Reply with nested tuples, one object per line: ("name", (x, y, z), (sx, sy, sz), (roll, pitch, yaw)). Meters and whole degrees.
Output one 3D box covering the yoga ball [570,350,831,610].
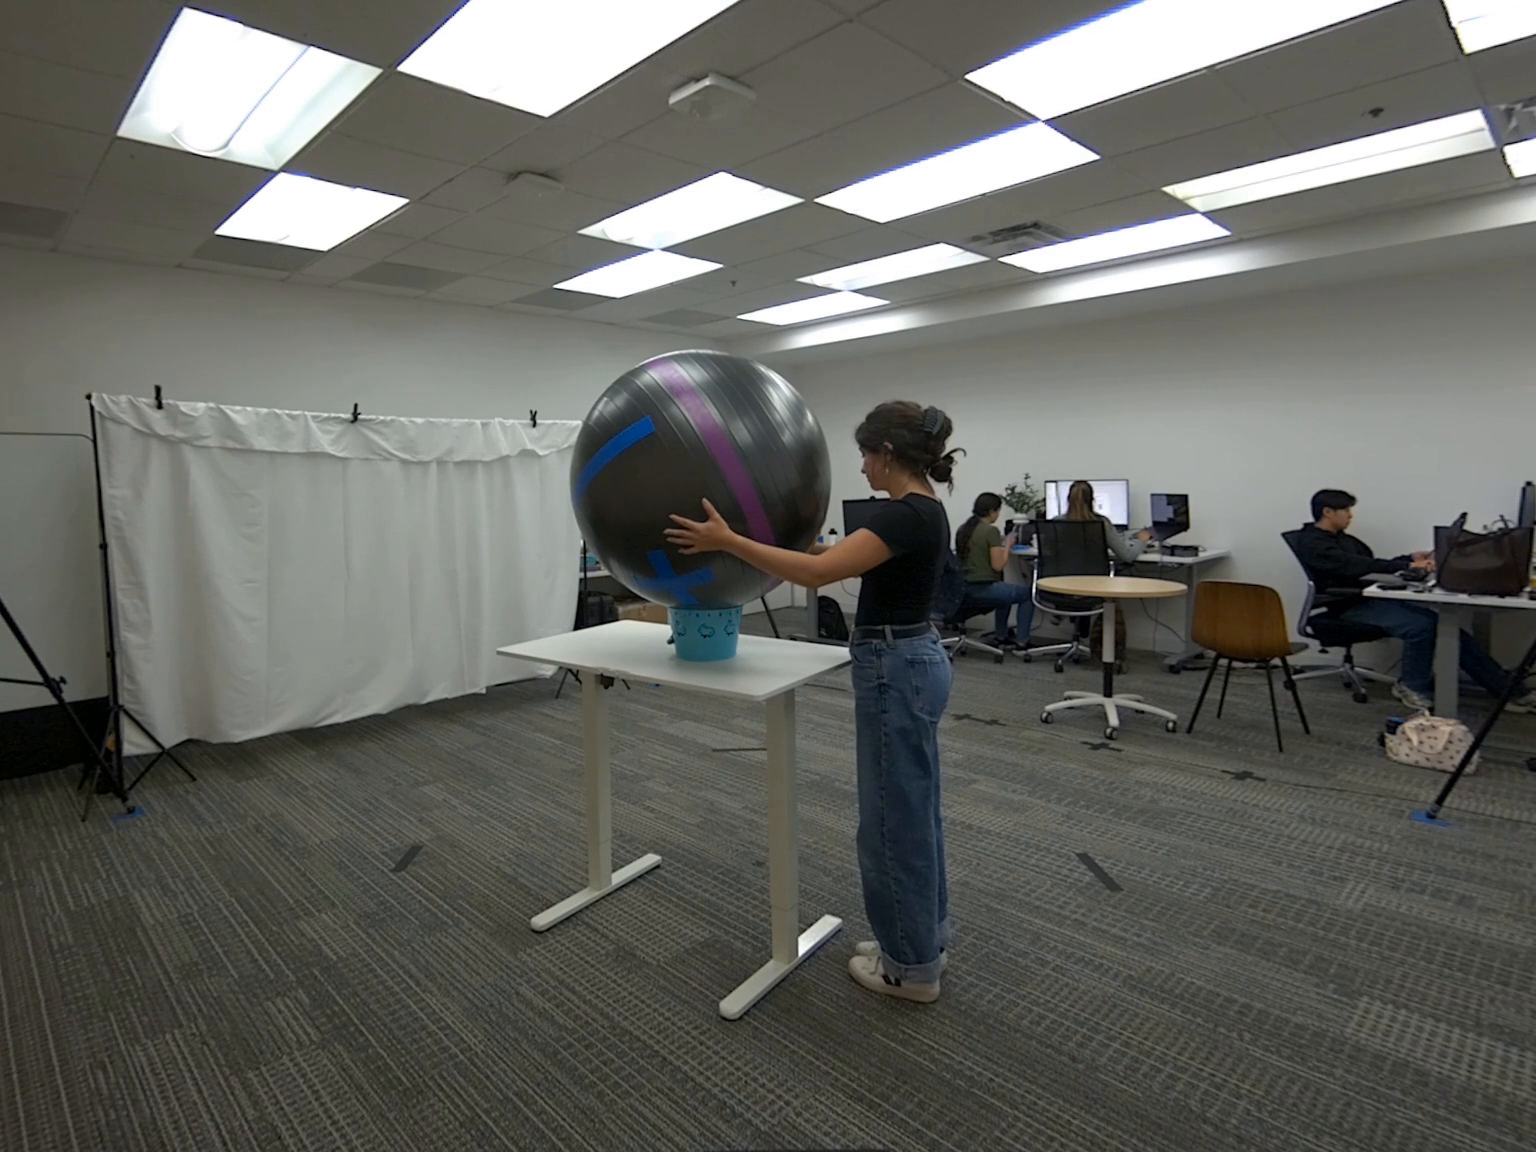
("yoga ball", (-0.192, -0.272, 2.501), (0.757, 0.755, 0.762), (-1, 5, -2))
